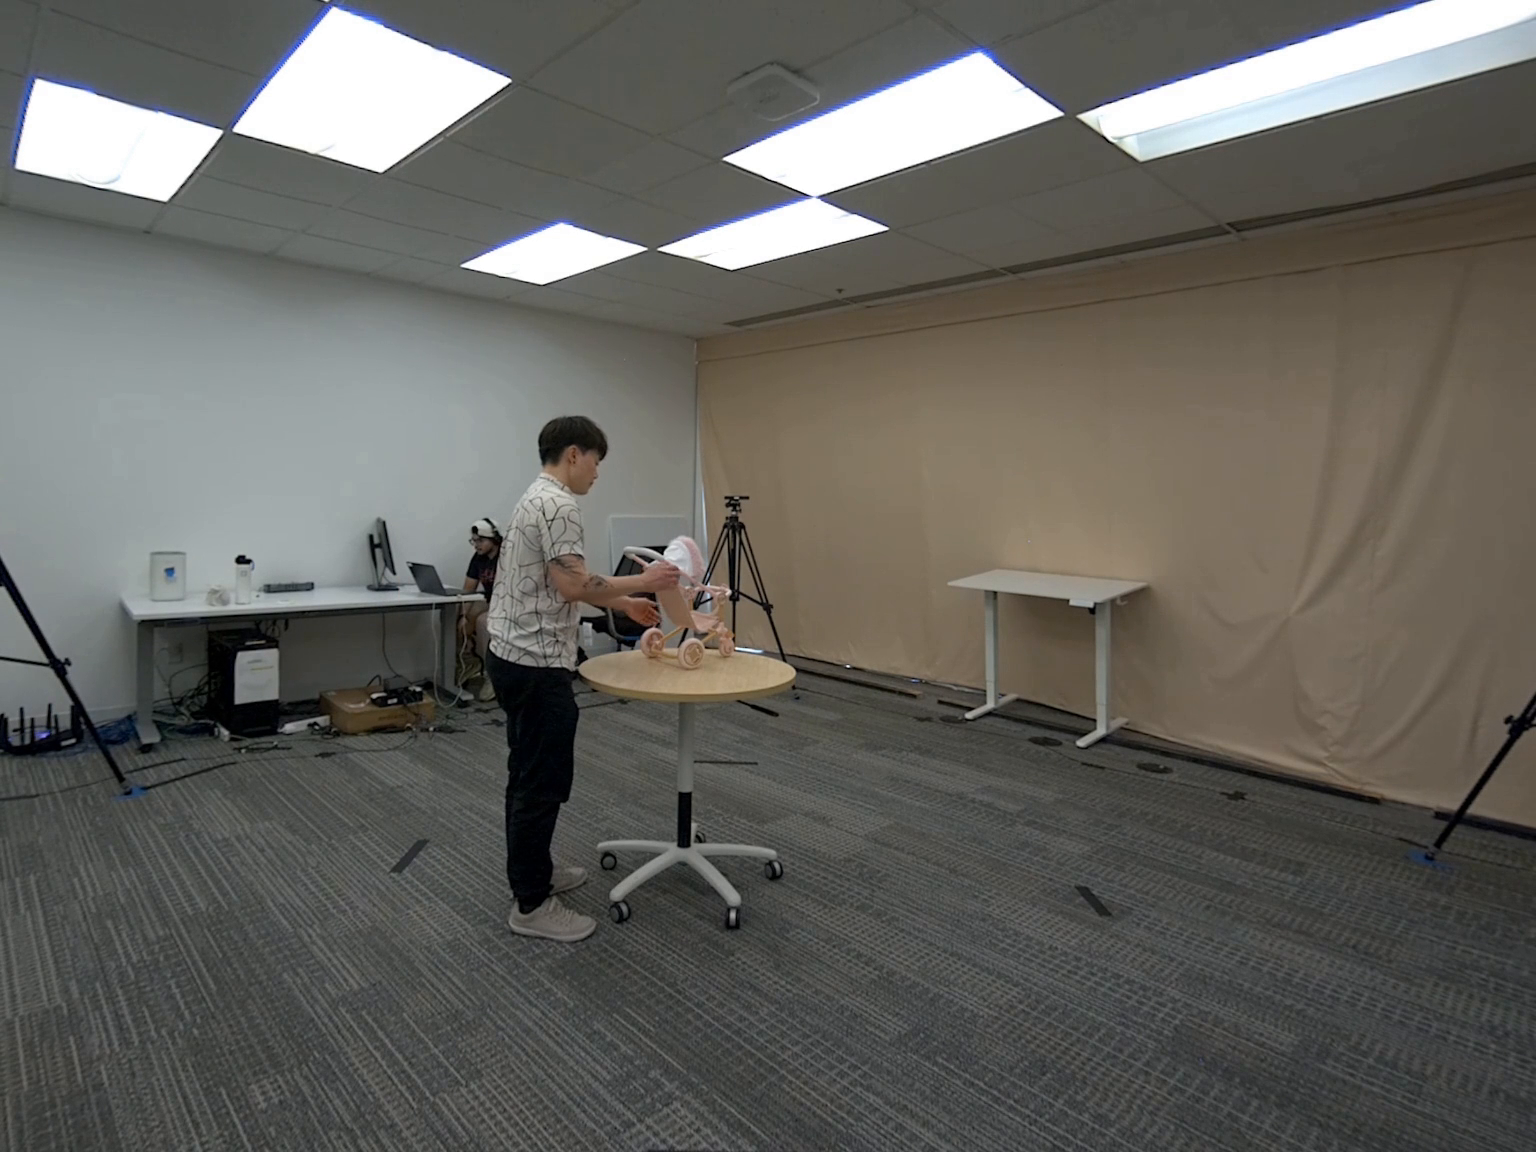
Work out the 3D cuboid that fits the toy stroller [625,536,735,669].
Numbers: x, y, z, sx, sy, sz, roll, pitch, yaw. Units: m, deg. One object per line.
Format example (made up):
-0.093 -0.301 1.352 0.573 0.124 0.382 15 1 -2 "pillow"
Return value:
-0.304 0.095 3.083 0.337 0.529 0.288 -21 16 -33 "toy stroller"
